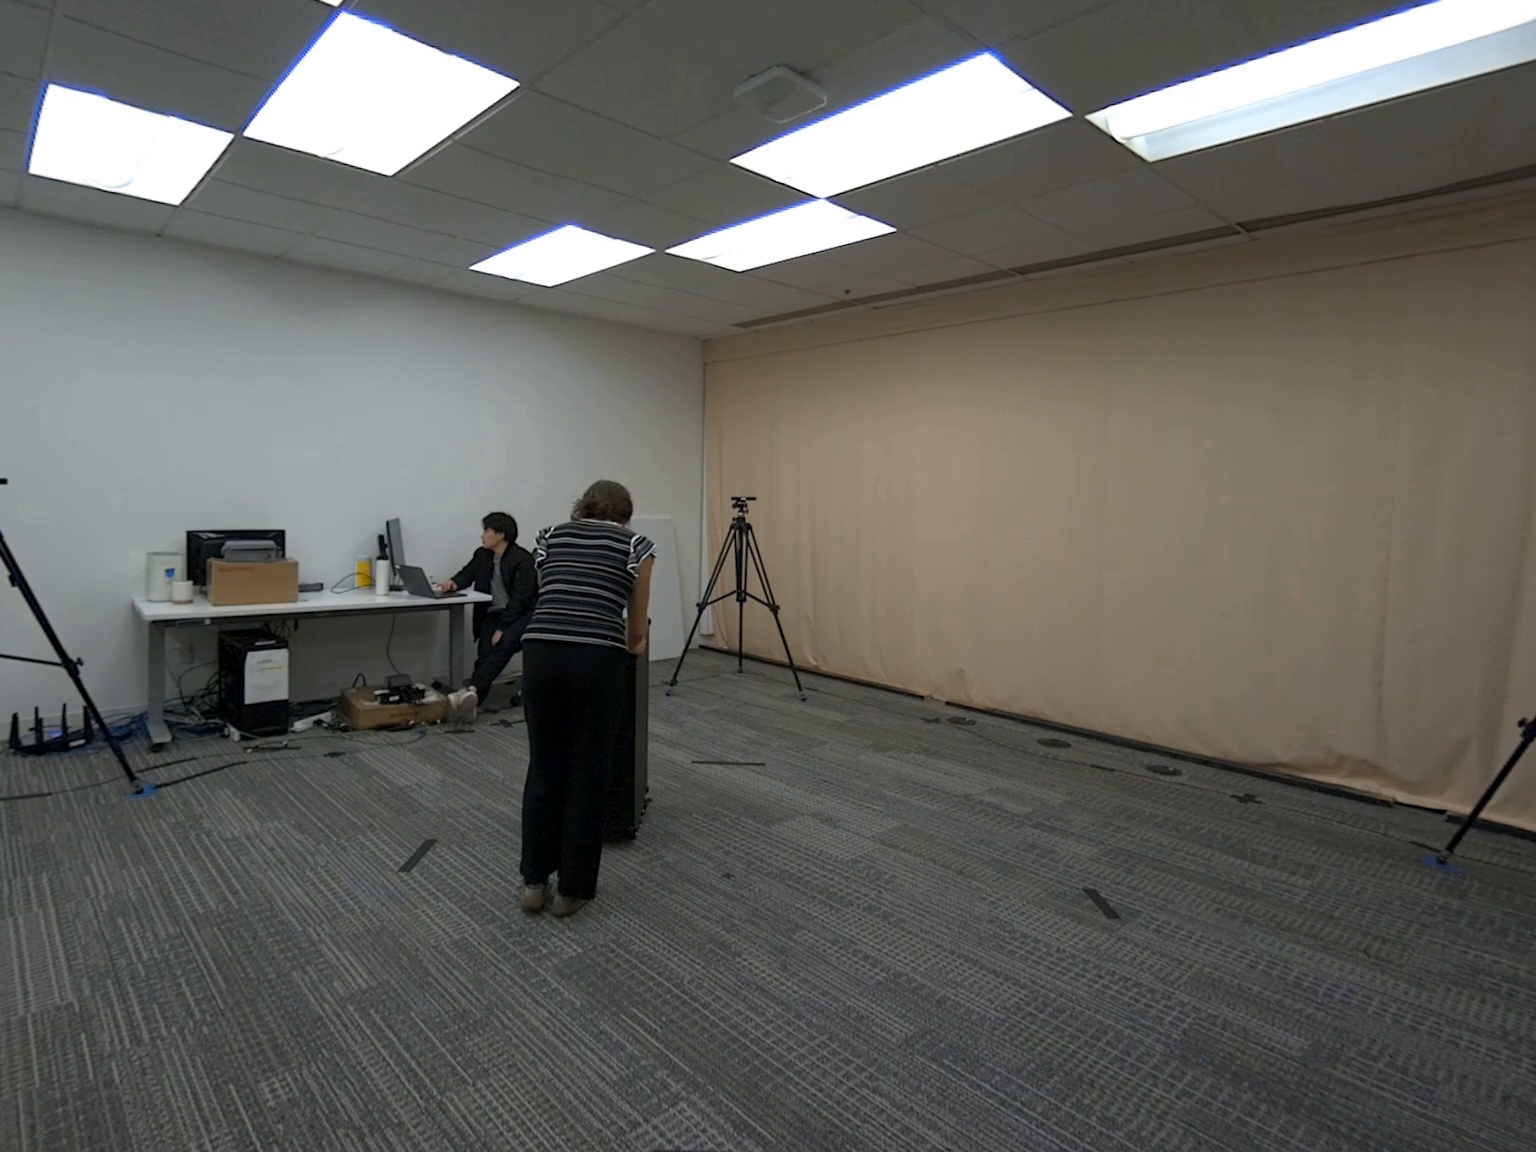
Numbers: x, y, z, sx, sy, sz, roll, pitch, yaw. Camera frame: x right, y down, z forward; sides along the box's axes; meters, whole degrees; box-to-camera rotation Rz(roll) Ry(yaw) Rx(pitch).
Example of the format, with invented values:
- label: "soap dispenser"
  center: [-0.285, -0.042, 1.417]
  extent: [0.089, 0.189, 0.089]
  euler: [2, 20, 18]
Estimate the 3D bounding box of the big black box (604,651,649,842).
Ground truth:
- label: "big black box"
  center: [-0.717, 0.640, 3.511]
  extent: [0.396, 0.859, 0.523]
  euler: [1, 5, 0]
